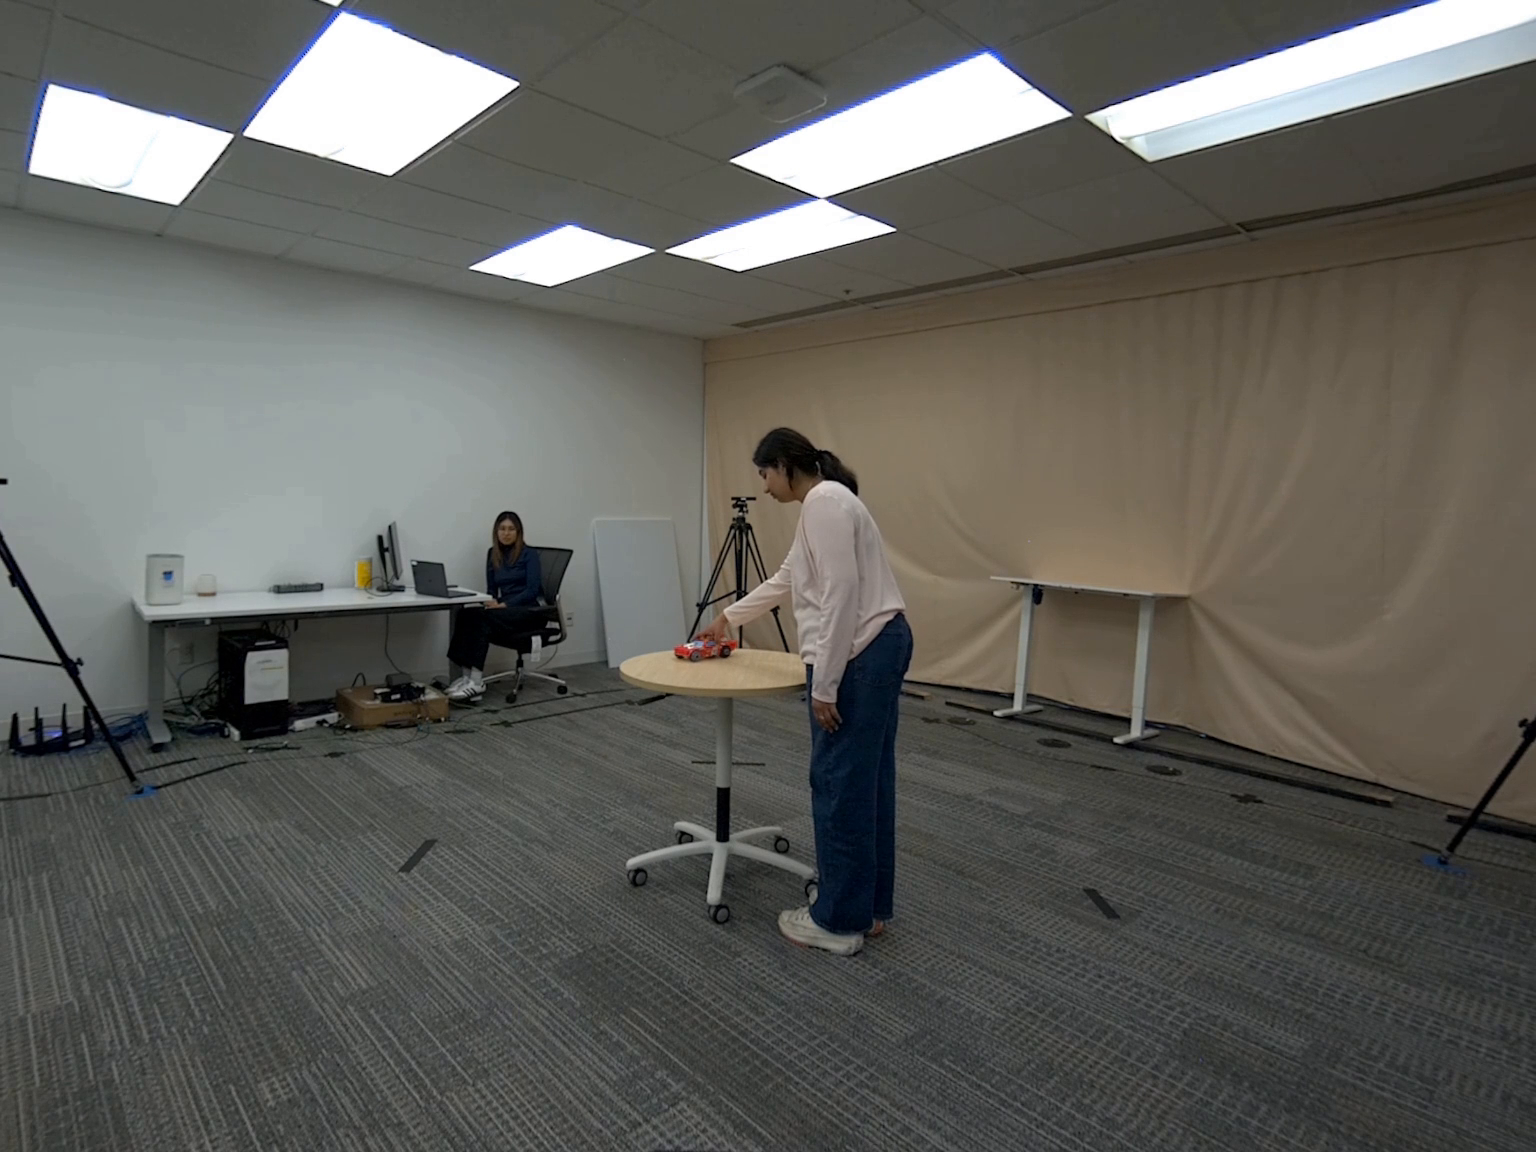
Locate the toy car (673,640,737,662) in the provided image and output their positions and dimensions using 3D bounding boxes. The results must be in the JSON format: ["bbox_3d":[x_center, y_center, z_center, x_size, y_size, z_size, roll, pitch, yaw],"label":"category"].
[{"bbox_3d":[-0.243,0.283,3.221,0.250,0.082,0.133,-17,15,-39],"label":"toy car"}]
